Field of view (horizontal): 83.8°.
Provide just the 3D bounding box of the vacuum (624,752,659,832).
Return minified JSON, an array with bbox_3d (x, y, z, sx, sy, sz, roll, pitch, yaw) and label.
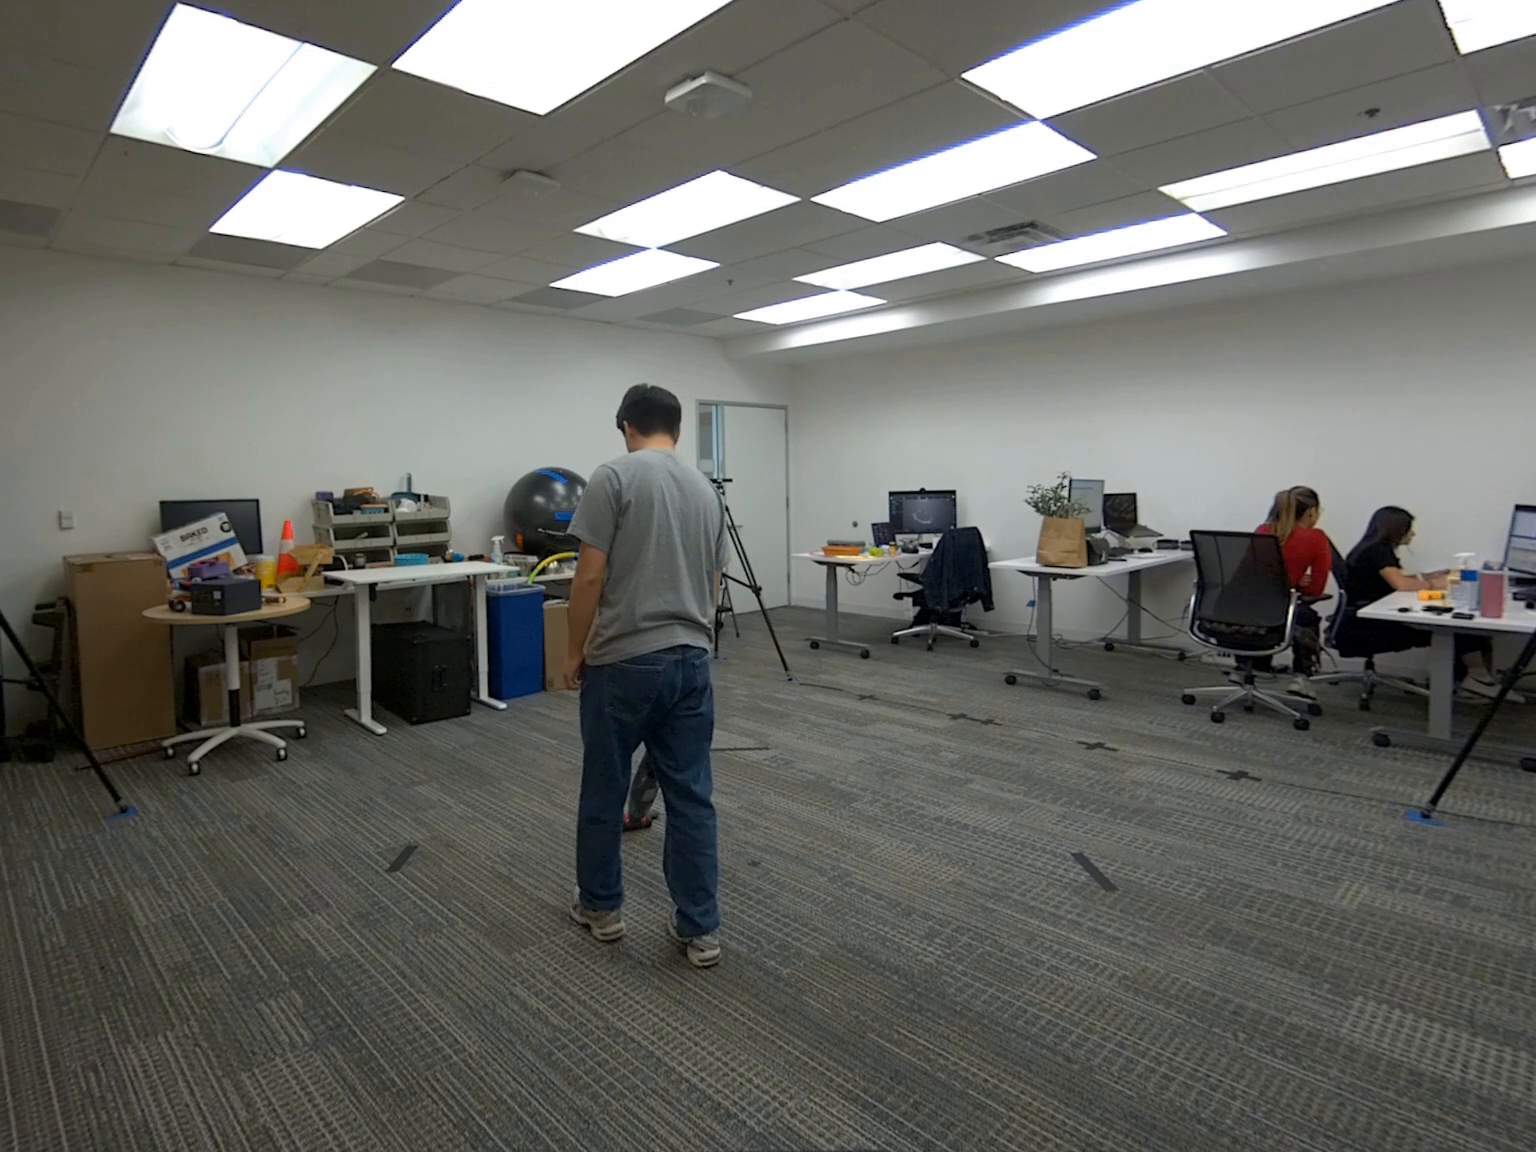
[{"bbox_3d":[-0.423,0.673,3.128,0.248,0.149,1.033,-6,-38,-24],"label":"vacuum"}]
